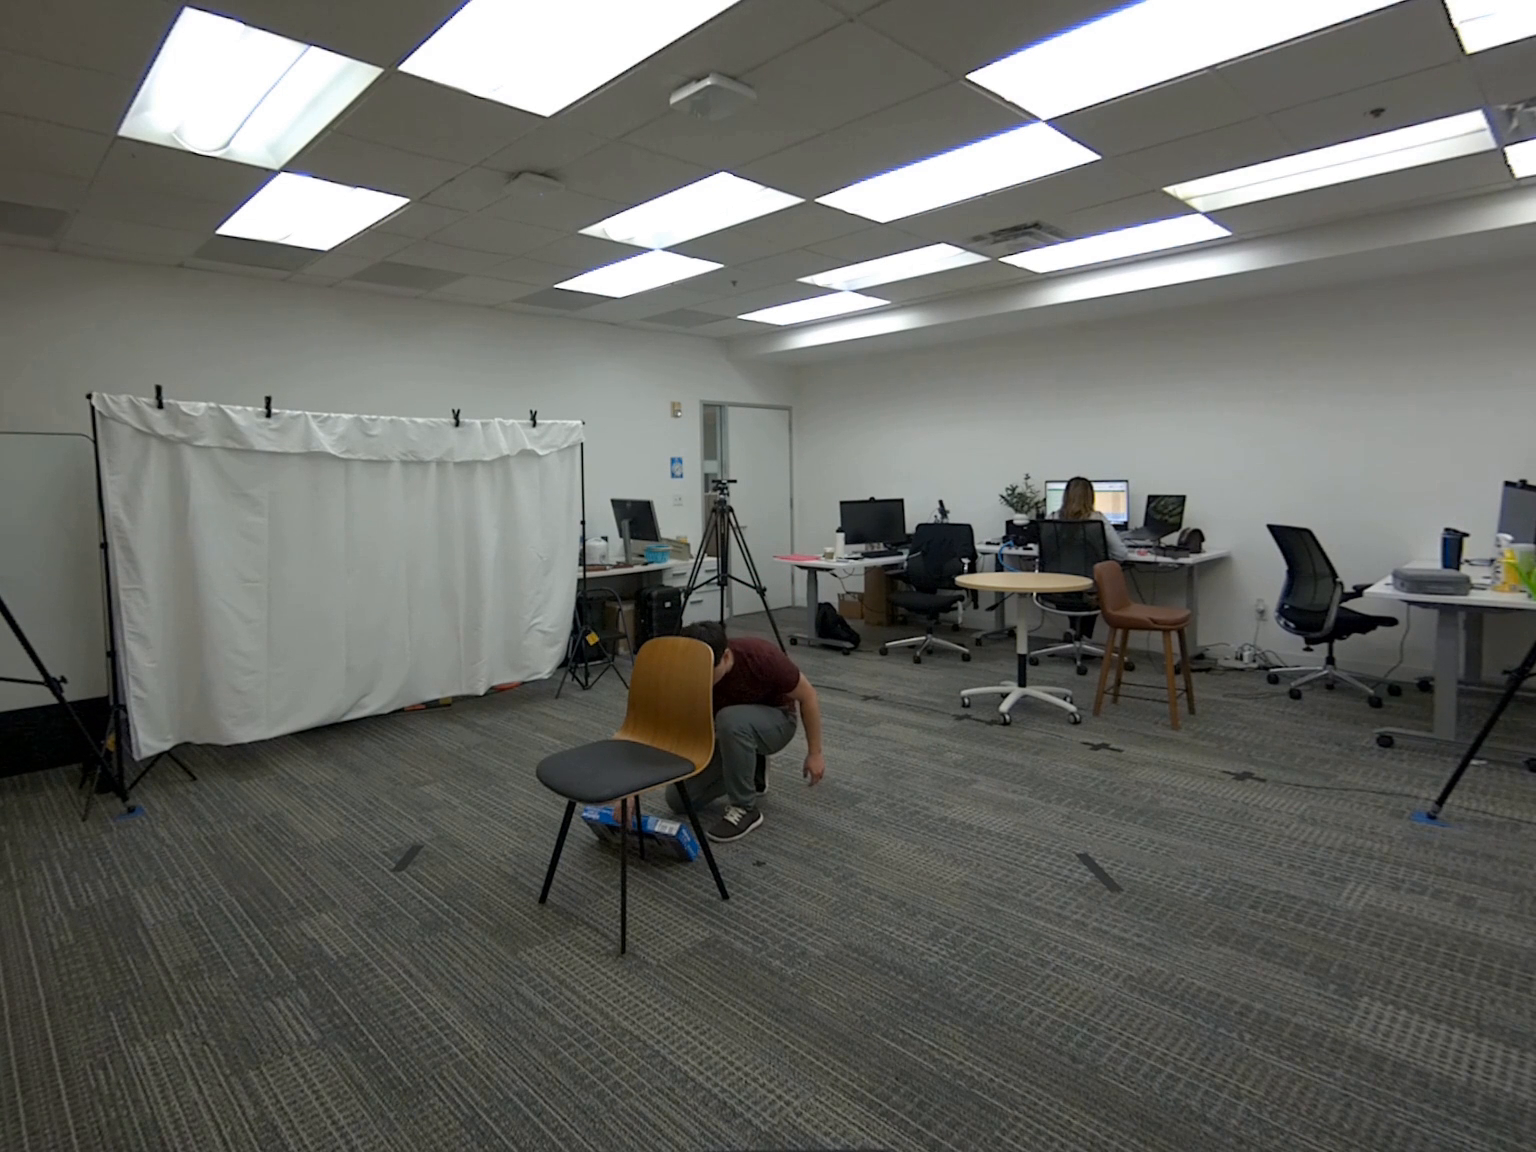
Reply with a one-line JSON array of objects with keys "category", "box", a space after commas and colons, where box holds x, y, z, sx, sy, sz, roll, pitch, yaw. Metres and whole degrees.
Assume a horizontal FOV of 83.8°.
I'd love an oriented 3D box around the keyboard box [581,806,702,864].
[{"category": "keyboard box", "box": [-0.483, 0.963, 3.211, 0.448, 0.170, 0.059, 3, 44, 29]}]
